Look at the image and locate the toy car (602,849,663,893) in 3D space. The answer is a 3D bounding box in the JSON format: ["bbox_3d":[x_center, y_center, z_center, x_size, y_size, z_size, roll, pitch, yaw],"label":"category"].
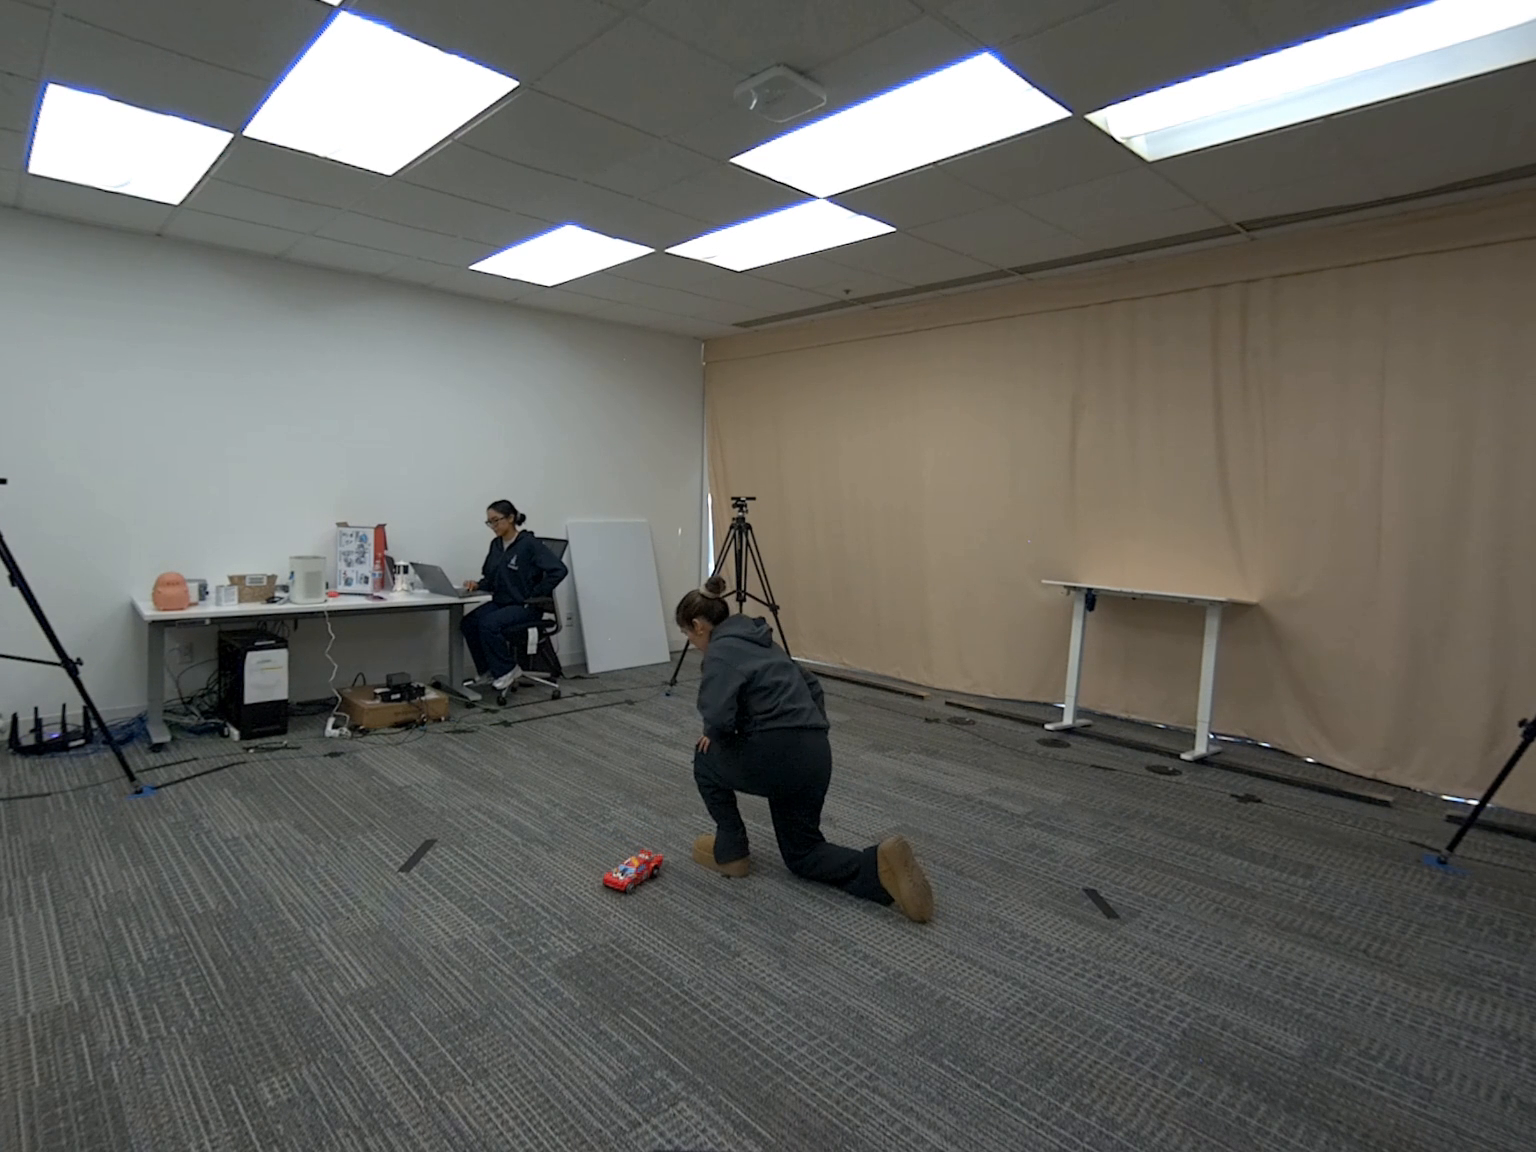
[{"bbox_3d":[-0.496,1.077,3.059,0.133,0.082,0.252,3,16,29],"label":"toy car"}]
